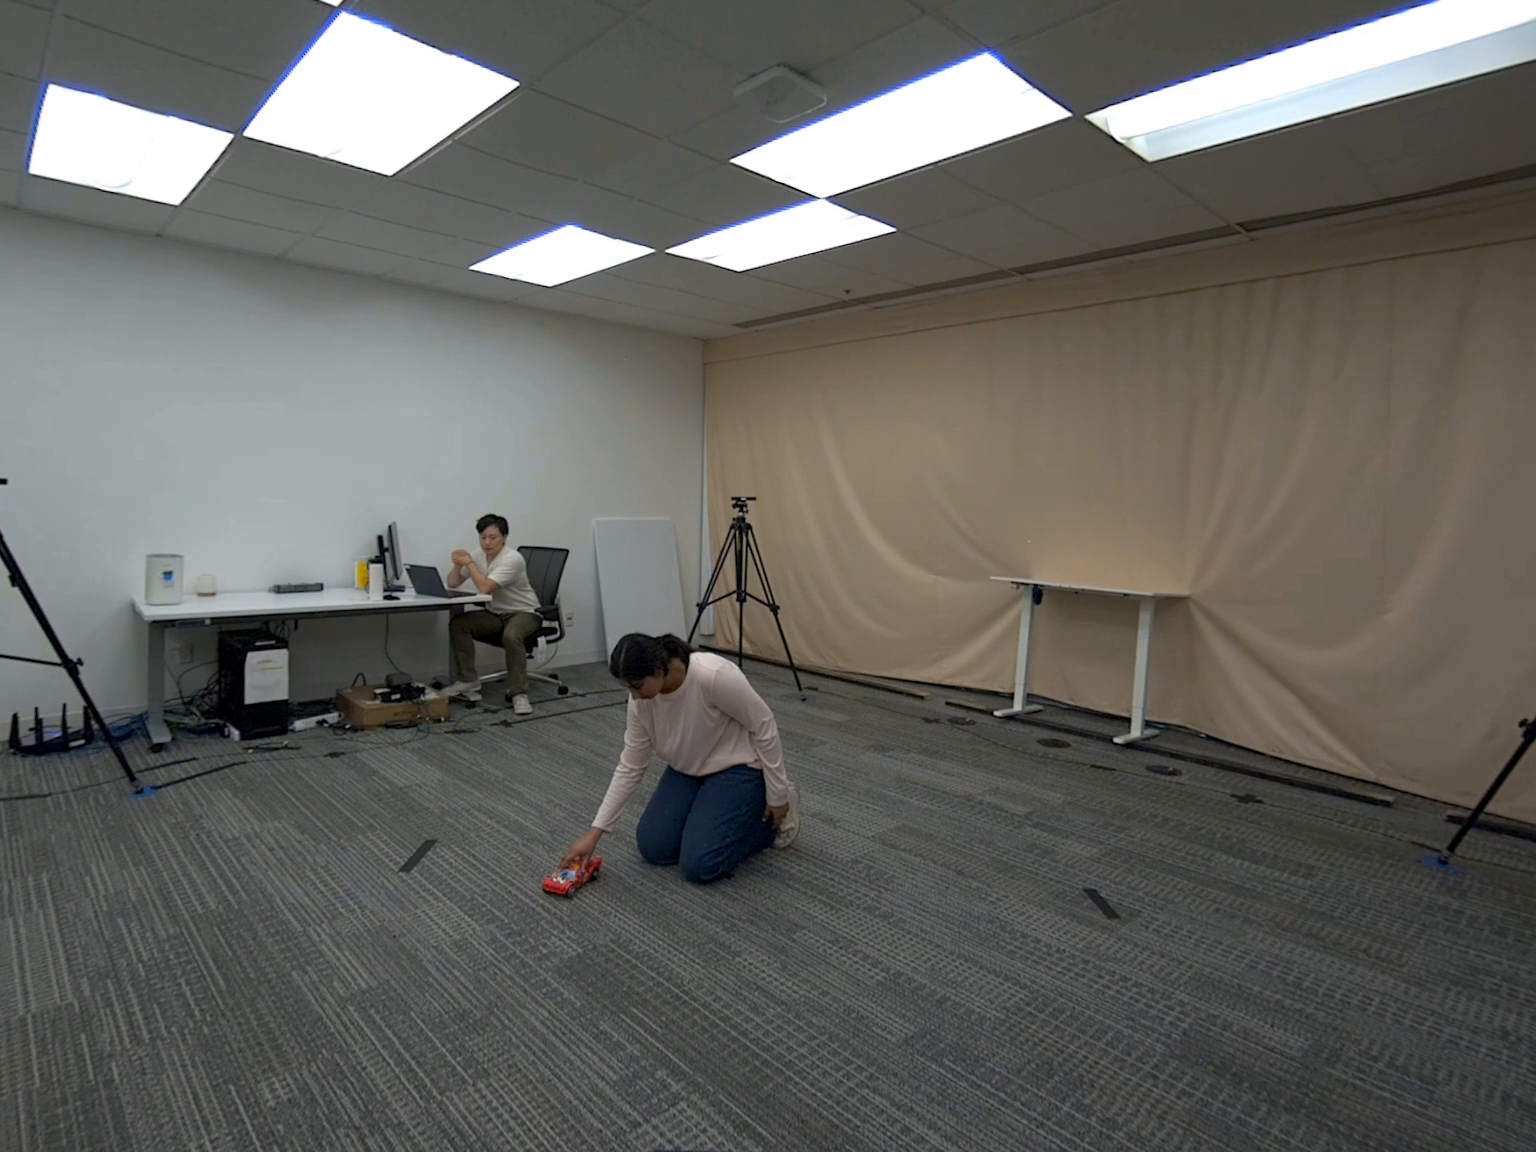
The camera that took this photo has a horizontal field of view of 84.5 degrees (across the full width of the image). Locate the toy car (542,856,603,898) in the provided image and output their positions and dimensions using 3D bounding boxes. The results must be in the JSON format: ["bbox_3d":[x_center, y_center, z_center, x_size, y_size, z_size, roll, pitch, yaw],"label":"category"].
[{"bbox_3d":[-0.705,1.074,3.011,0.132,0.082,0.253,4,16,20],"label":"toy car"}]
